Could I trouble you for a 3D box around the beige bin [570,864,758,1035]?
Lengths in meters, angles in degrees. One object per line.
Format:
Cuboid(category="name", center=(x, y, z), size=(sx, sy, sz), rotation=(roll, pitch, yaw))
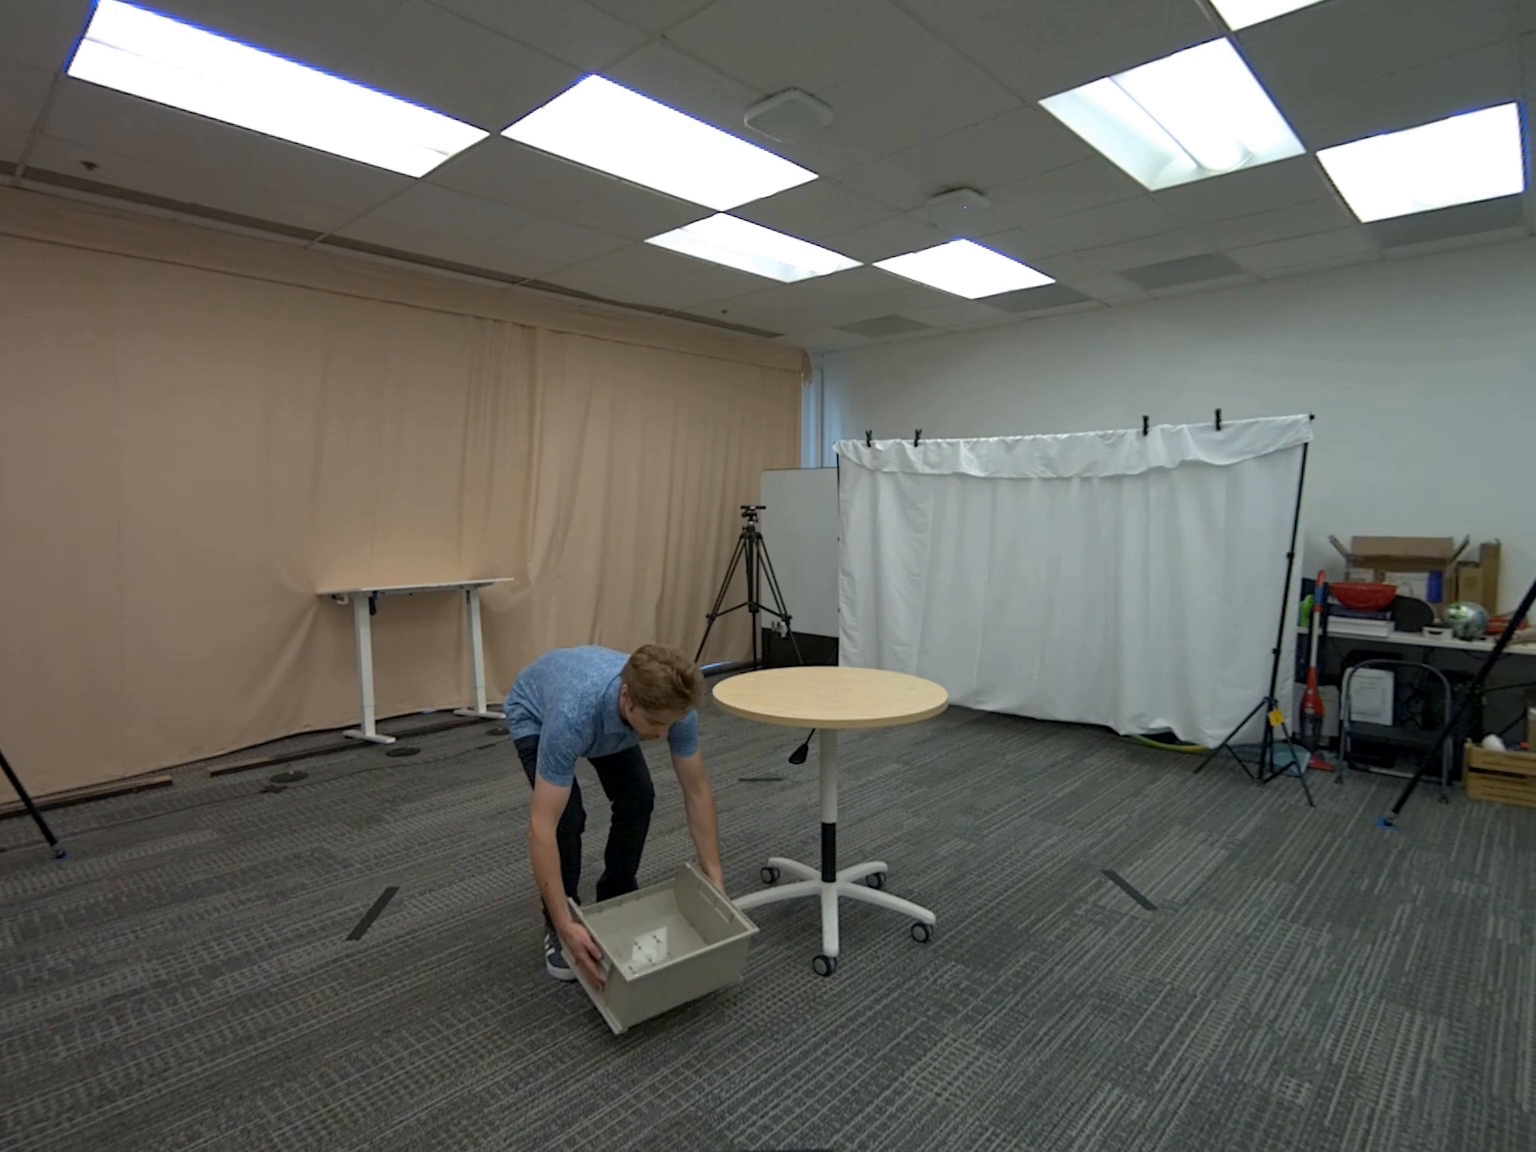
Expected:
Cuboid(category="beige bin", center=(-0.309, 1.003, 2.323), size=(0.409, 0.188, 0.391), rotation=(-3, 21, -40))
